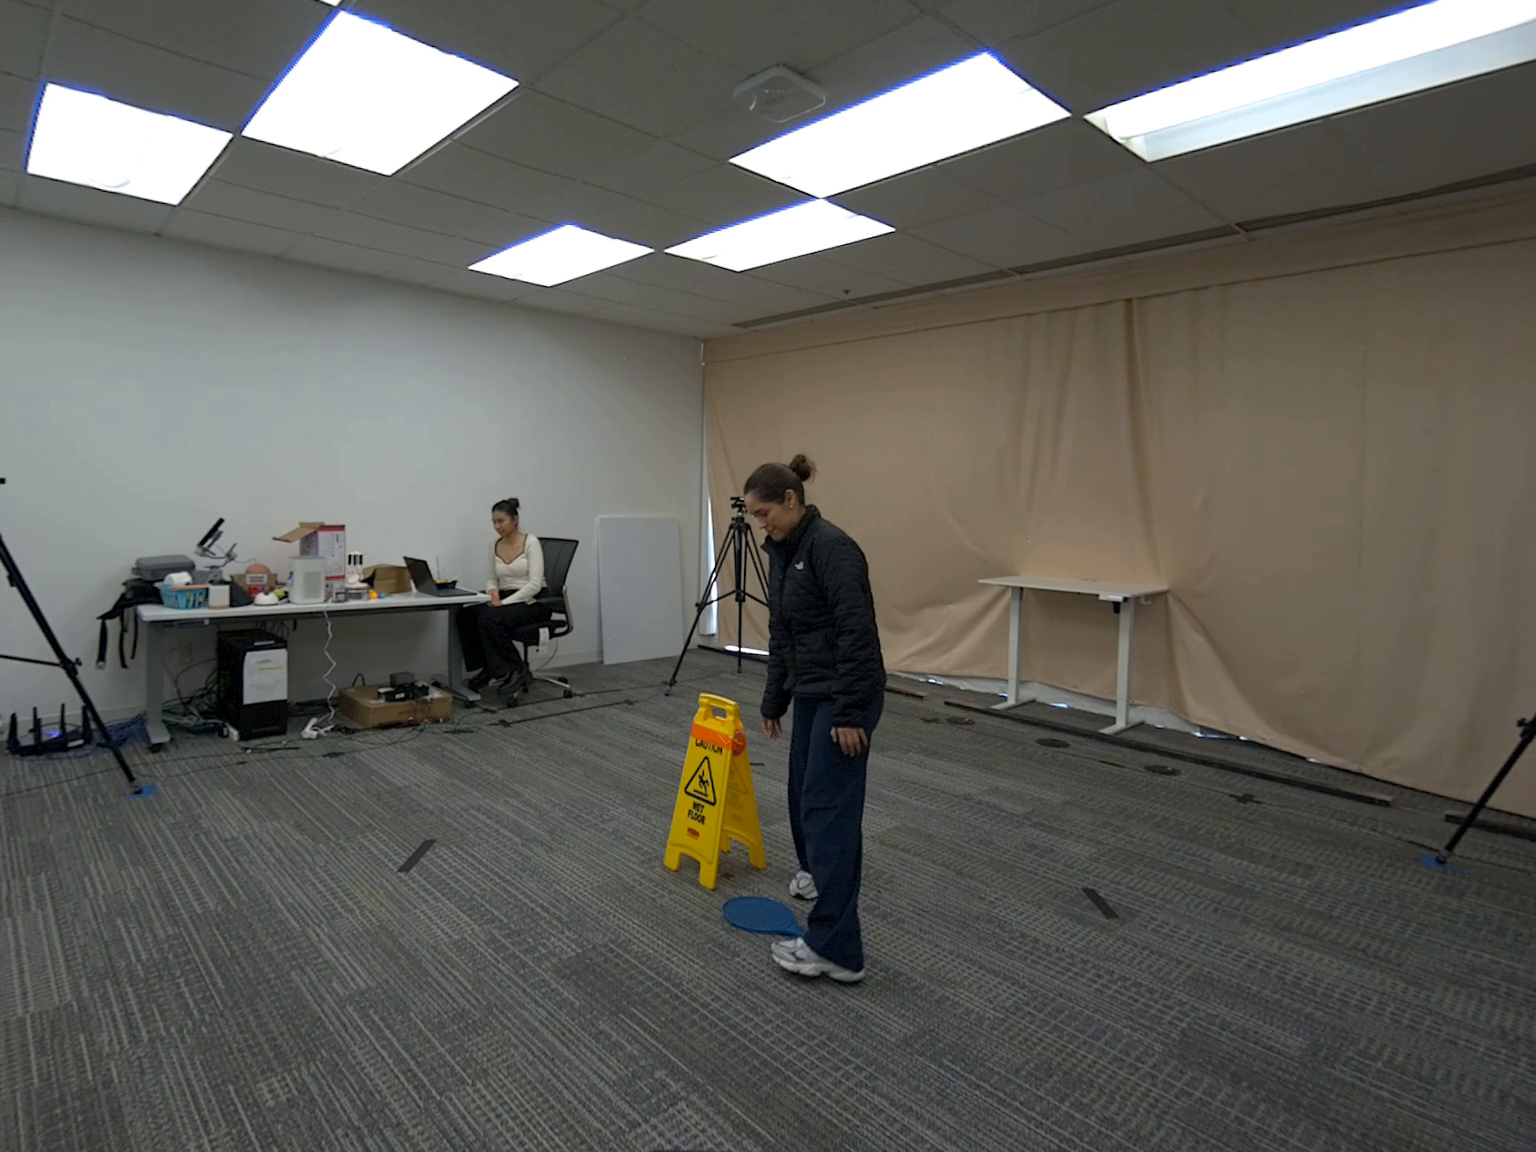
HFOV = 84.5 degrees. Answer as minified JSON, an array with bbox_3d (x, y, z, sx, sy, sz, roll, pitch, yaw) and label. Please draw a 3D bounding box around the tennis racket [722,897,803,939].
[{"bbox_3d":[0.023,1.129,2.737,0.209,0.031,0.444,-6,7,-44],"label":"tennis racket"}]
